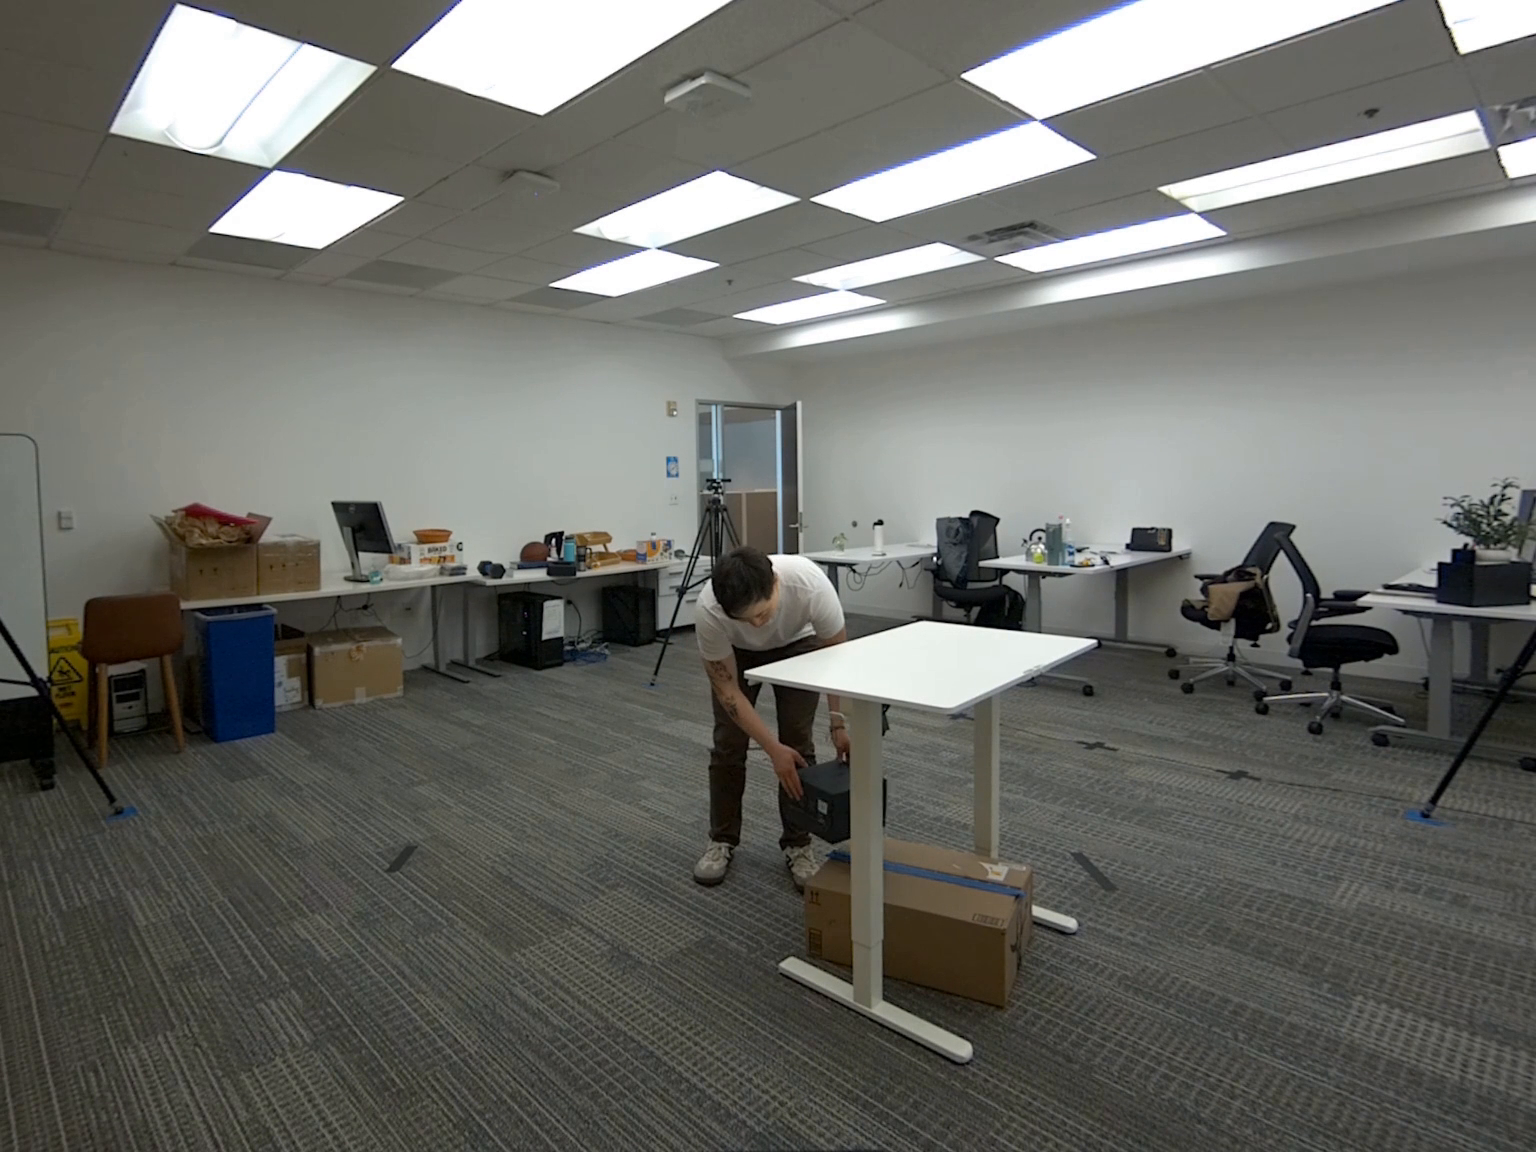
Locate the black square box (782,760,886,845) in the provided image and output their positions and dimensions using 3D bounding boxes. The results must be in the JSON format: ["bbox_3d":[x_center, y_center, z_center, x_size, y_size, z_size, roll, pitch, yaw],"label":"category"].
[{"bbox_3d":[0.215,0.701,2.680,0.222,0.155,0.224,-6,11,-36],"label":"black square box"}]
